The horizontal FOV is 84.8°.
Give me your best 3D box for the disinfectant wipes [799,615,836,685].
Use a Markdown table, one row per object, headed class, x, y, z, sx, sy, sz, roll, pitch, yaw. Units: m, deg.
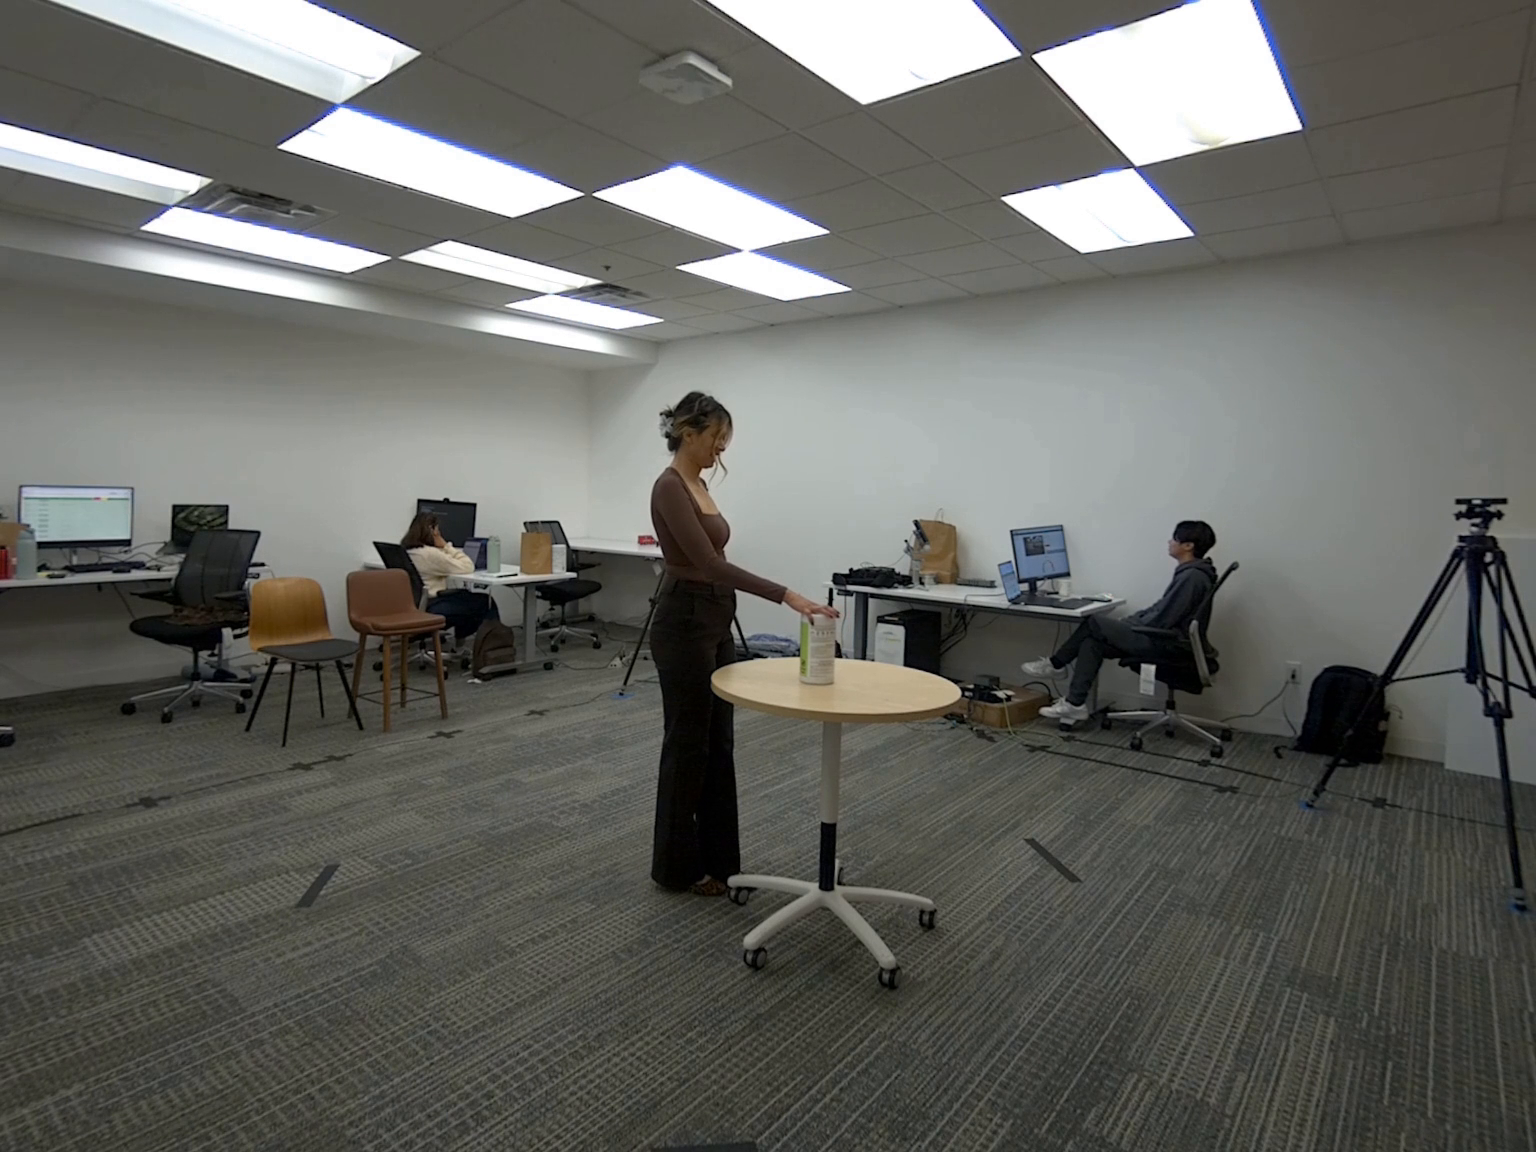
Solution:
| class | x | y | z | sx | sy | sz | roll | pitch | yaw |
| --- | --- | --- | --- | --- | --- | --- | --- | --- | --- |
| disinfectant wipes | 0.148 | 0.219 | 2.638 | 0.118 | 0.217 | 0.118 | -2 | 2 | -2 |
